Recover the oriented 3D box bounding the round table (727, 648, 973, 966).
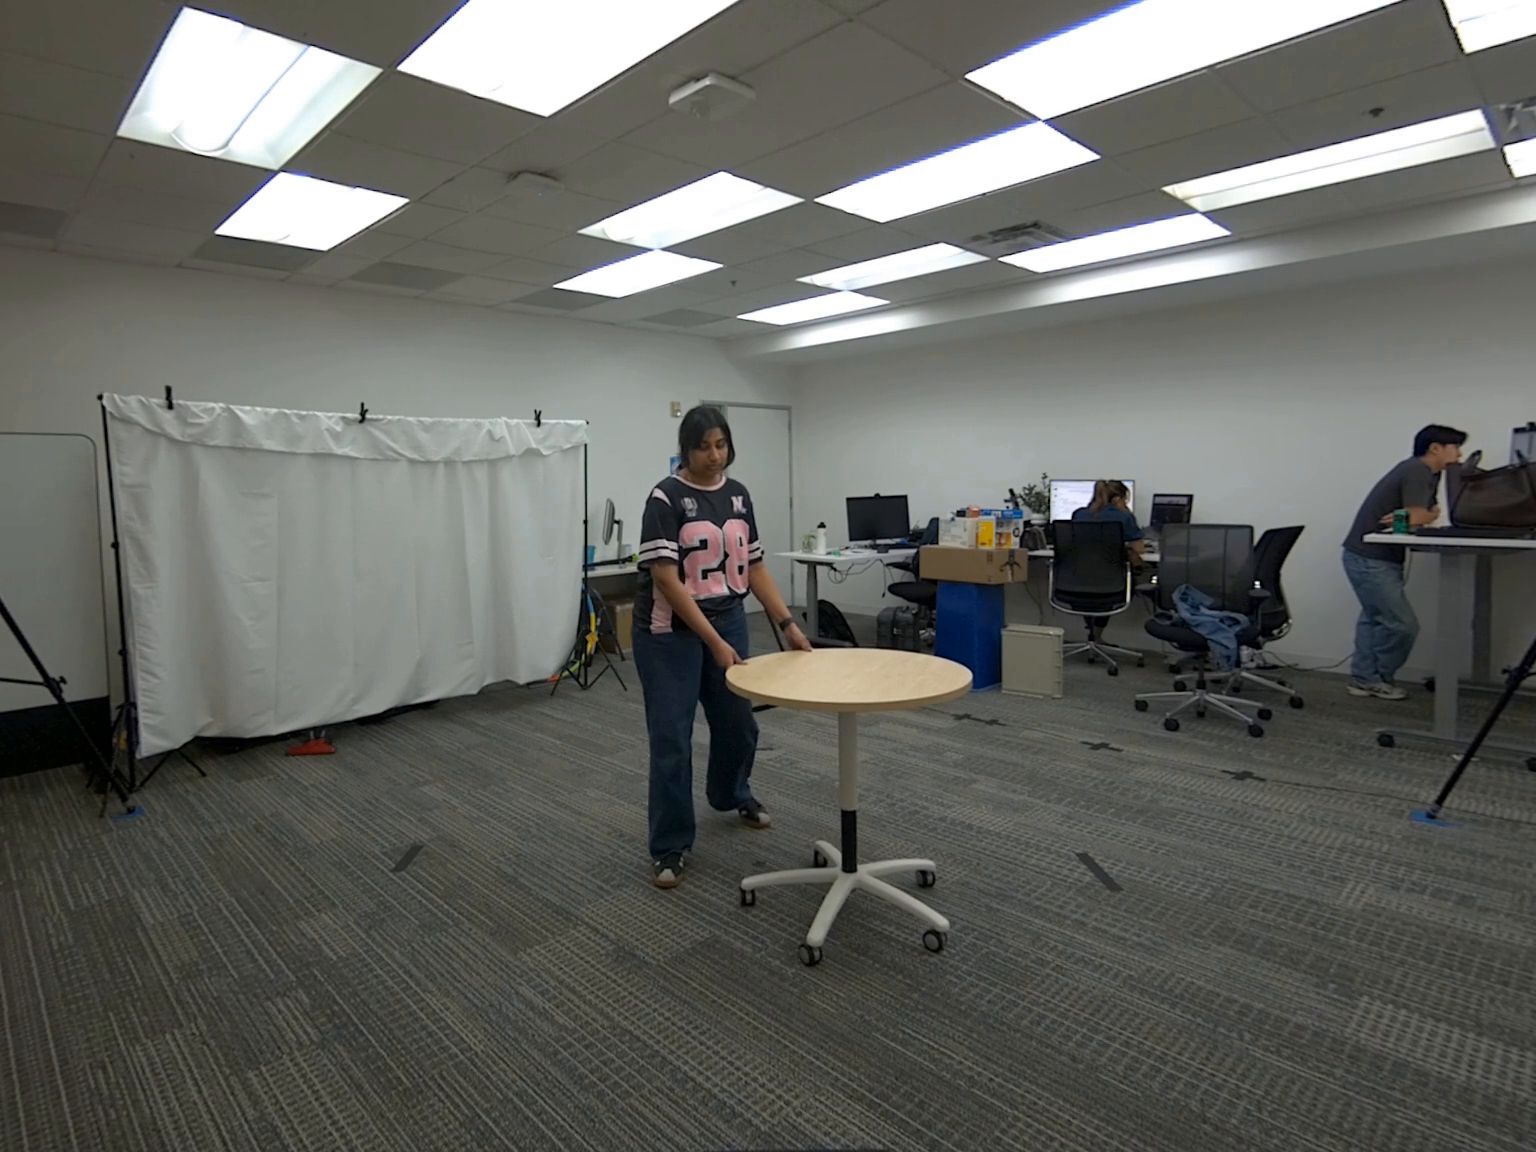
[{"bbox_3d":[0.268,0.693,2.712,0.784,0.783,0.789,-2,5,-2],"label":"round table"}]
